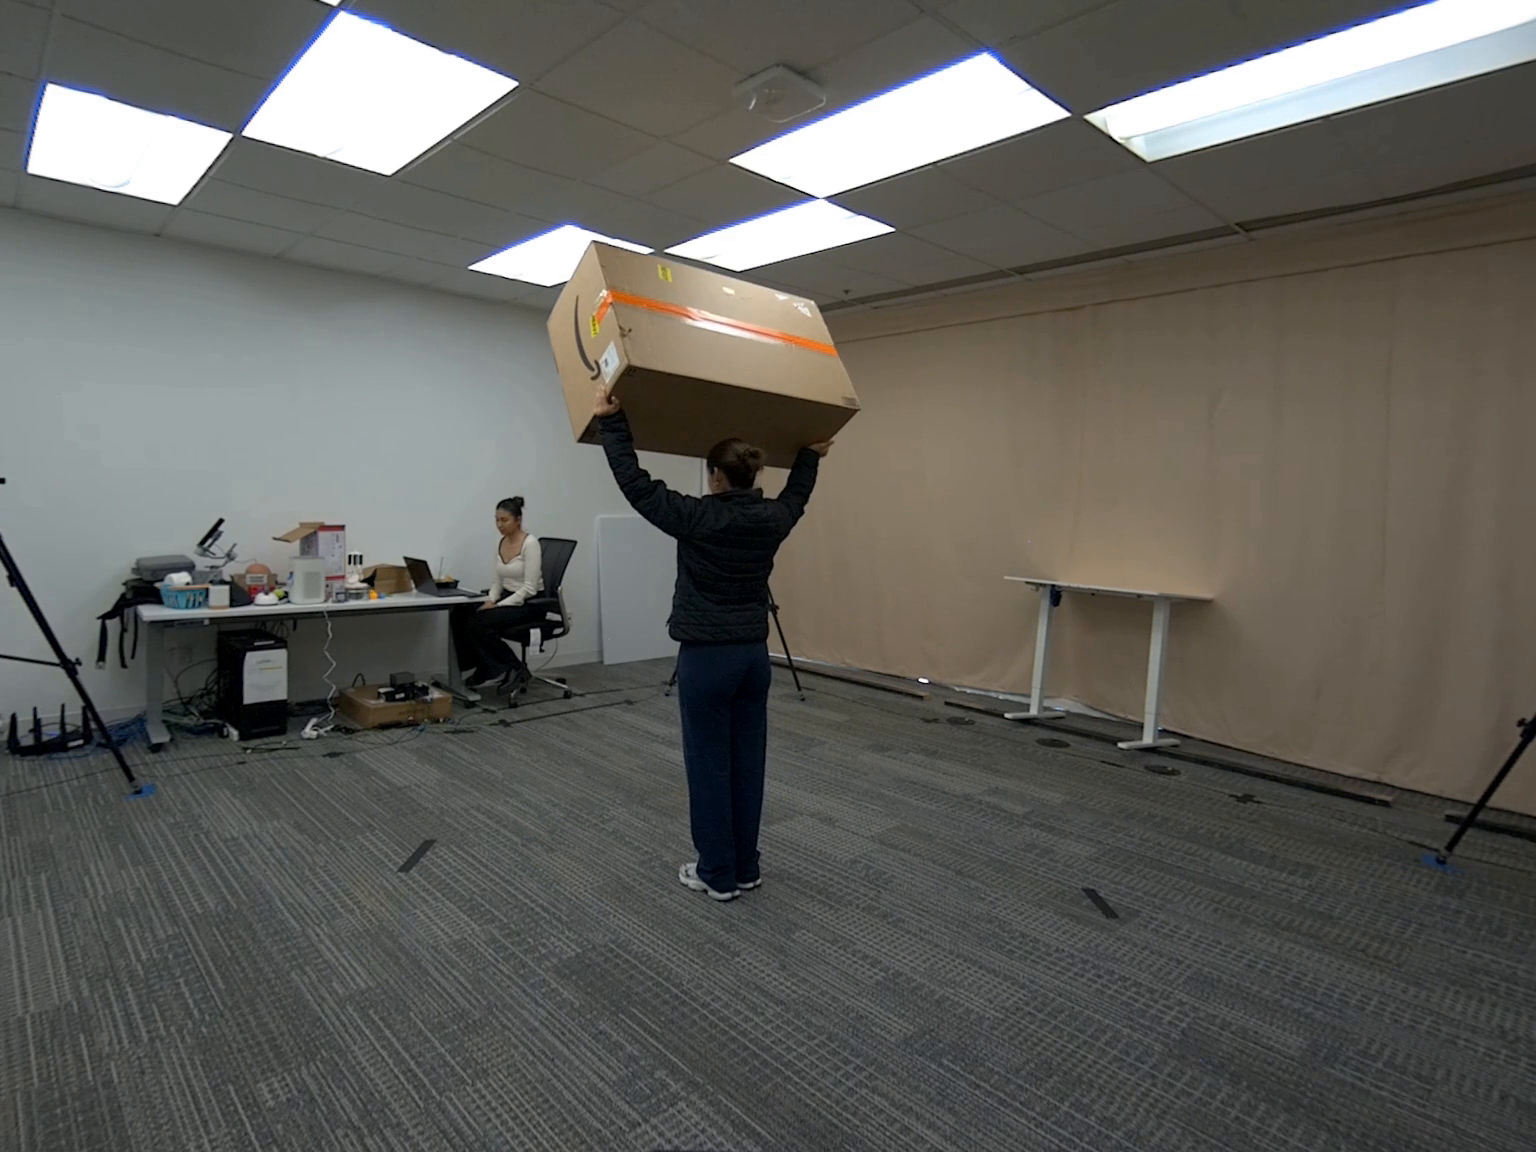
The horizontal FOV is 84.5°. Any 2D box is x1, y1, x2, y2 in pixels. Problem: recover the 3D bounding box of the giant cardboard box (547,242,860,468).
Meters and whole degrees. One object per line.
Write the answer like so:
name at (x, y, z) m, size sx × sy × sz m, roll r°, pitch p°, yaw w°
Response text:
giant cardboard box at (-0.242, -0.795, 3.191) m, size 1.002 × 0.596 × 0.448 m, roll 2°, pitch -31°, yaw -38°
